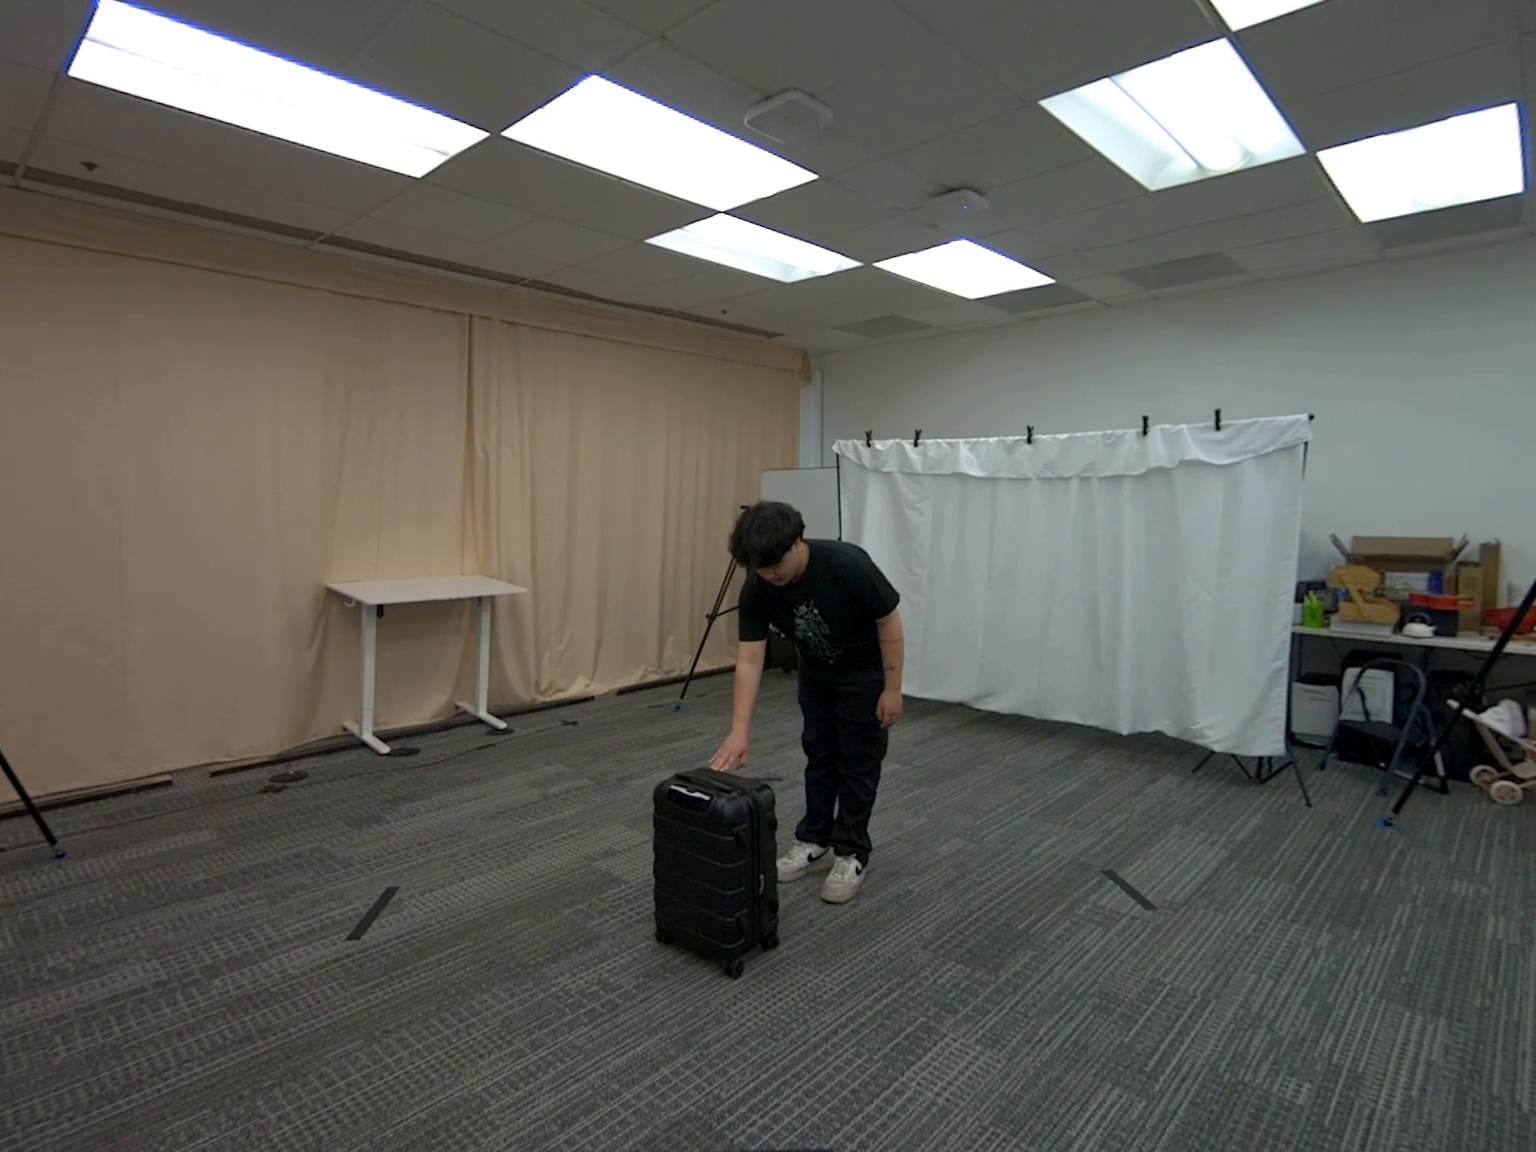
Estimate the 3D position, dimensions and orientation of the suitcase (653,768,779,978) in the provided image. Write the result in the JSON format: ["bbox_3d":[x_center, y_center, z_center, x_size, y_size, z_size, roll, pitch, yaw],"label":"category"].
[{"bbox_3d":[-0.166,0.897,2.639,0.388,0.548,0.241,3,6,40],"label":"suitcase"}]
